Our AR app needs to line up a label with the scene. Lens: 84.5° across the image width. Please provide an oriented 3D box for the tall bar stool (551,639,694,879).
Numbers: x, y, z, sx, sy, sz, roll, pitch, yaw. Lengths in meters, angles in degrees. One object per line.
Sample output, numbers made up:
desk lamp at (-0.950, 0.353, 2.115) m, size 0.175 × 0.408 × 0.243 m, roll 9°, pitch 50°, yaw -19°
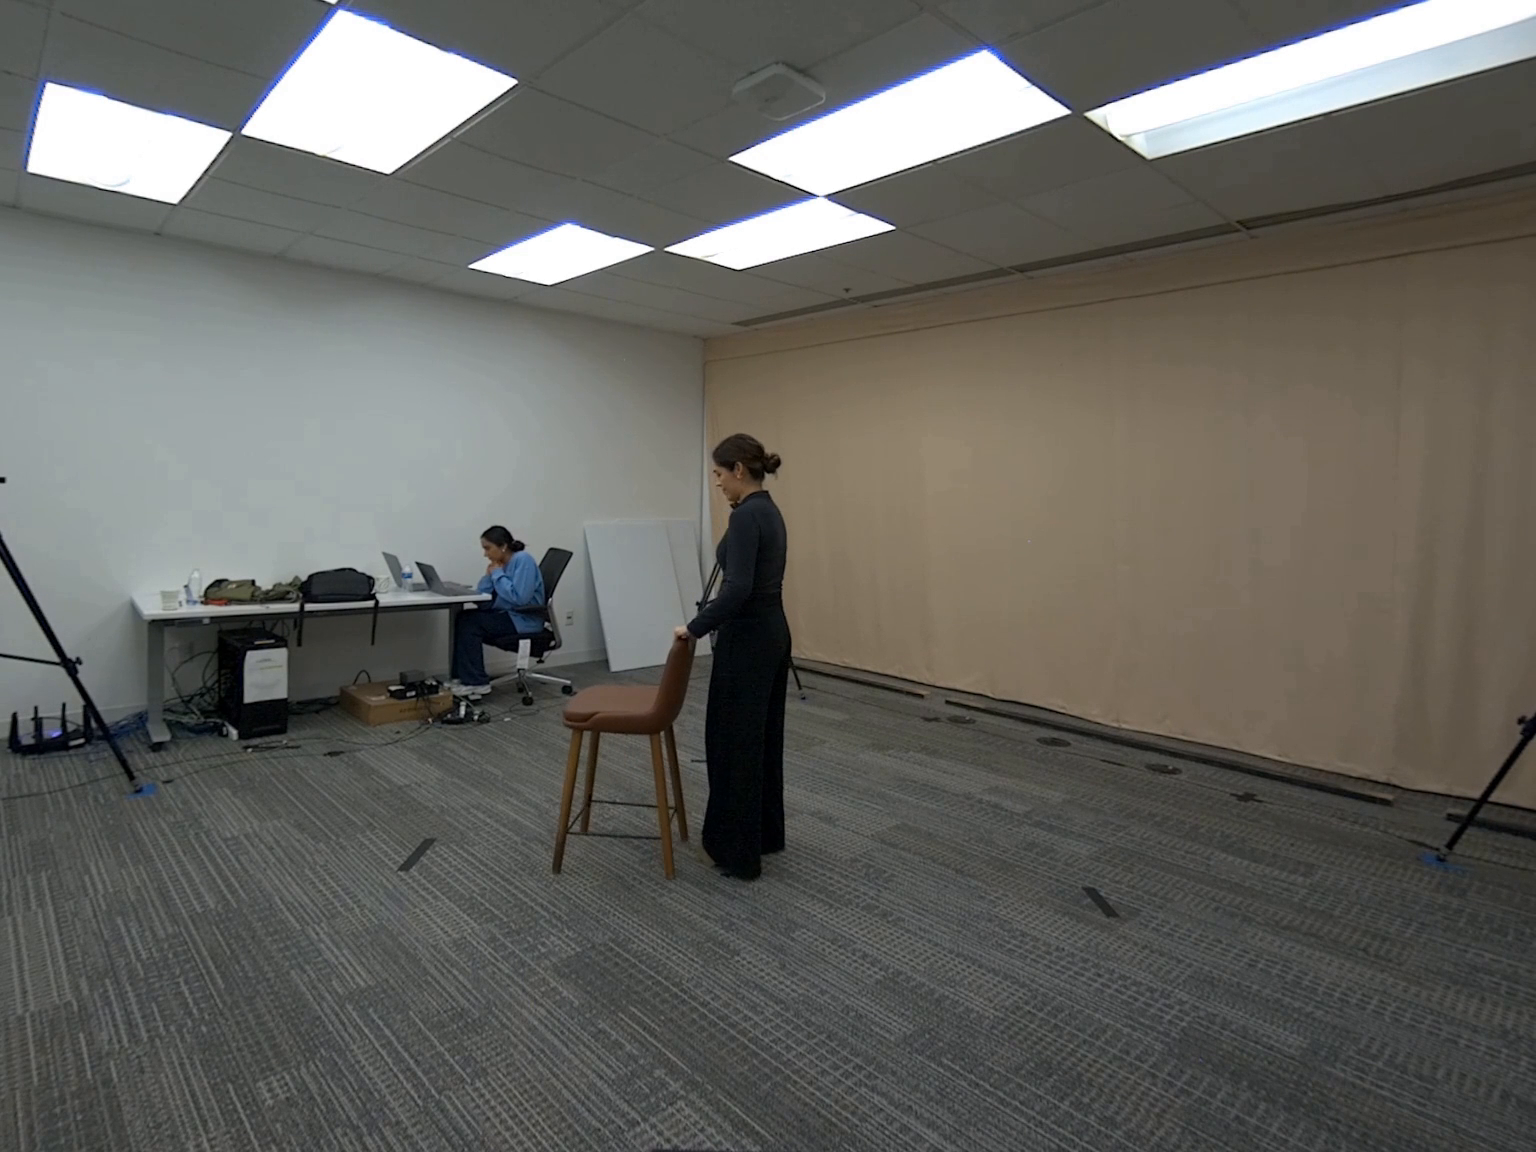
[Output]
tall bar stool at (-0.534, 0.640, 3.227) m, size 0.470 × 0.887 × 0.455 m, roll 4°, pitch 4°, yaw 5°
